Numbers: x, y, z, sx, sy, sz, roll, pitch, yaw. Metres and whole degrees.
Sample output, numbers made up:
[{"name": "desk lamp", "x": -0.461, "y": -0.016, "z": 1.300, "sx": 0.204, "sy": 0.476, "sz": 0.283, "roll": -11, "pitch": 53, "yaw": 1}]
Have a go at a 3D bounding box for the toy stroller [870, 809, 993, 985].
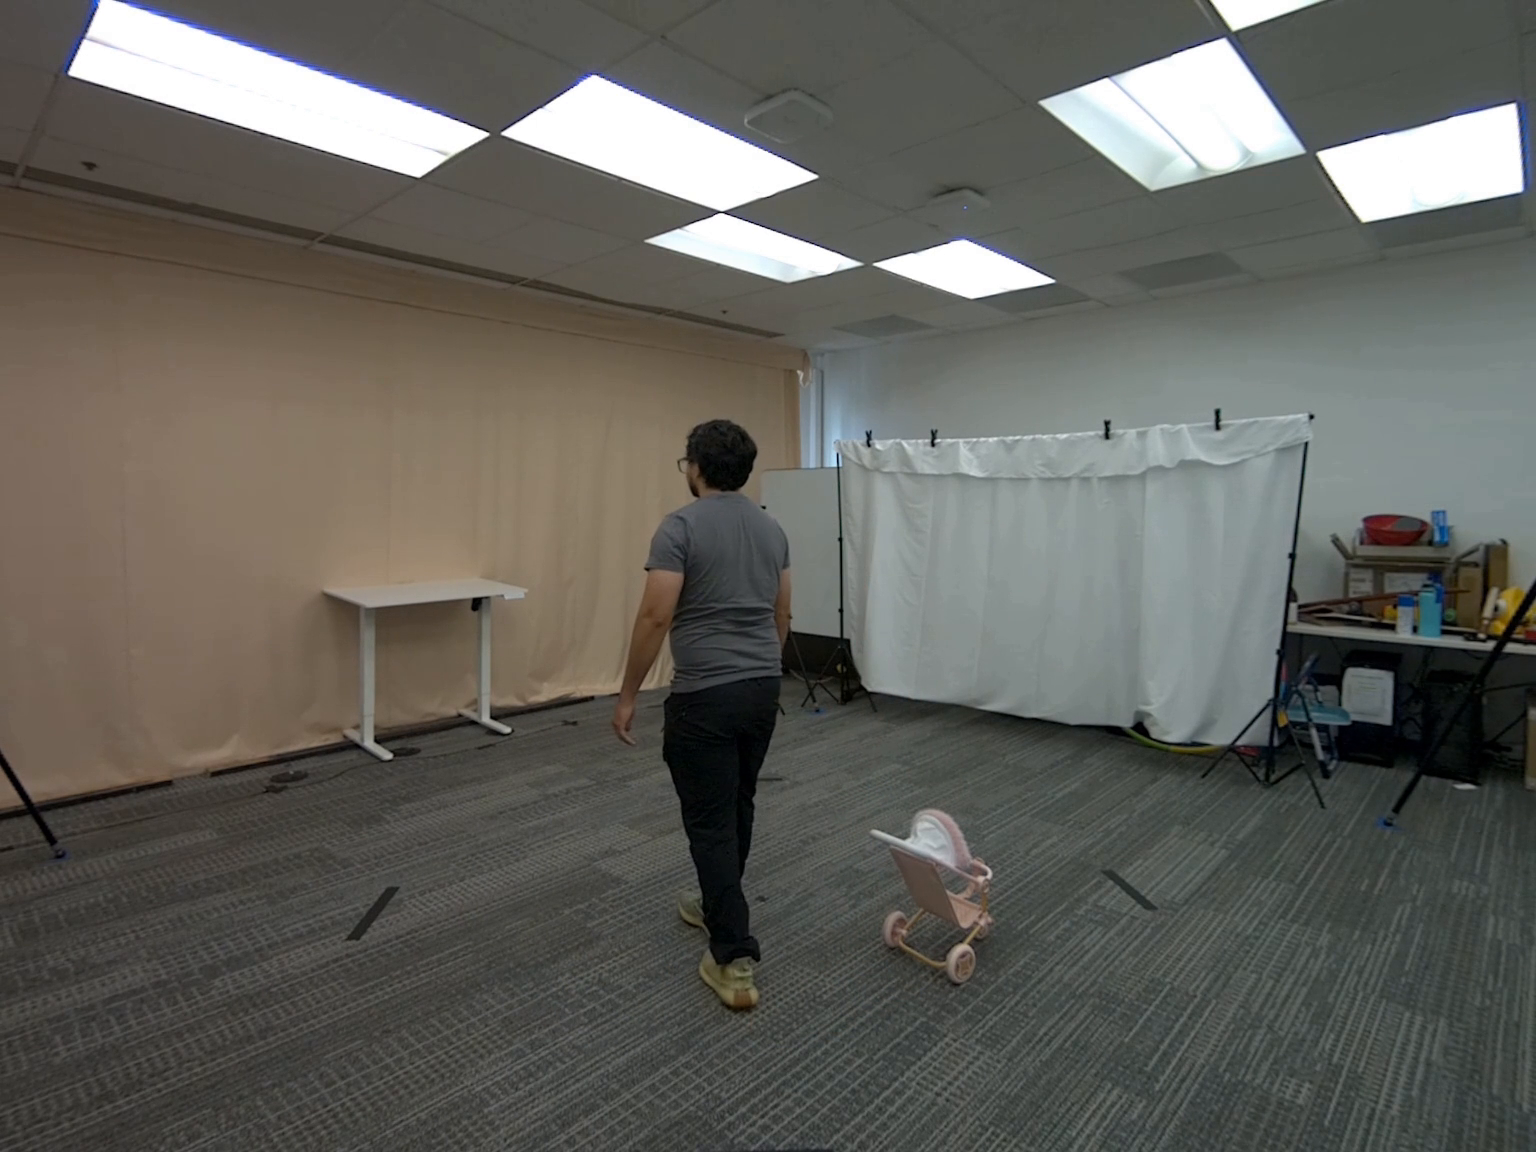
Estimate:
[{"name": "toy stroller", "x": 0.539, "y": 0.955, "z": 2.572, "sx": 0.334, "sy": 0.529, "sz": 0.290, "roll": -21, "pitch": 14, "yaw": -32}]
